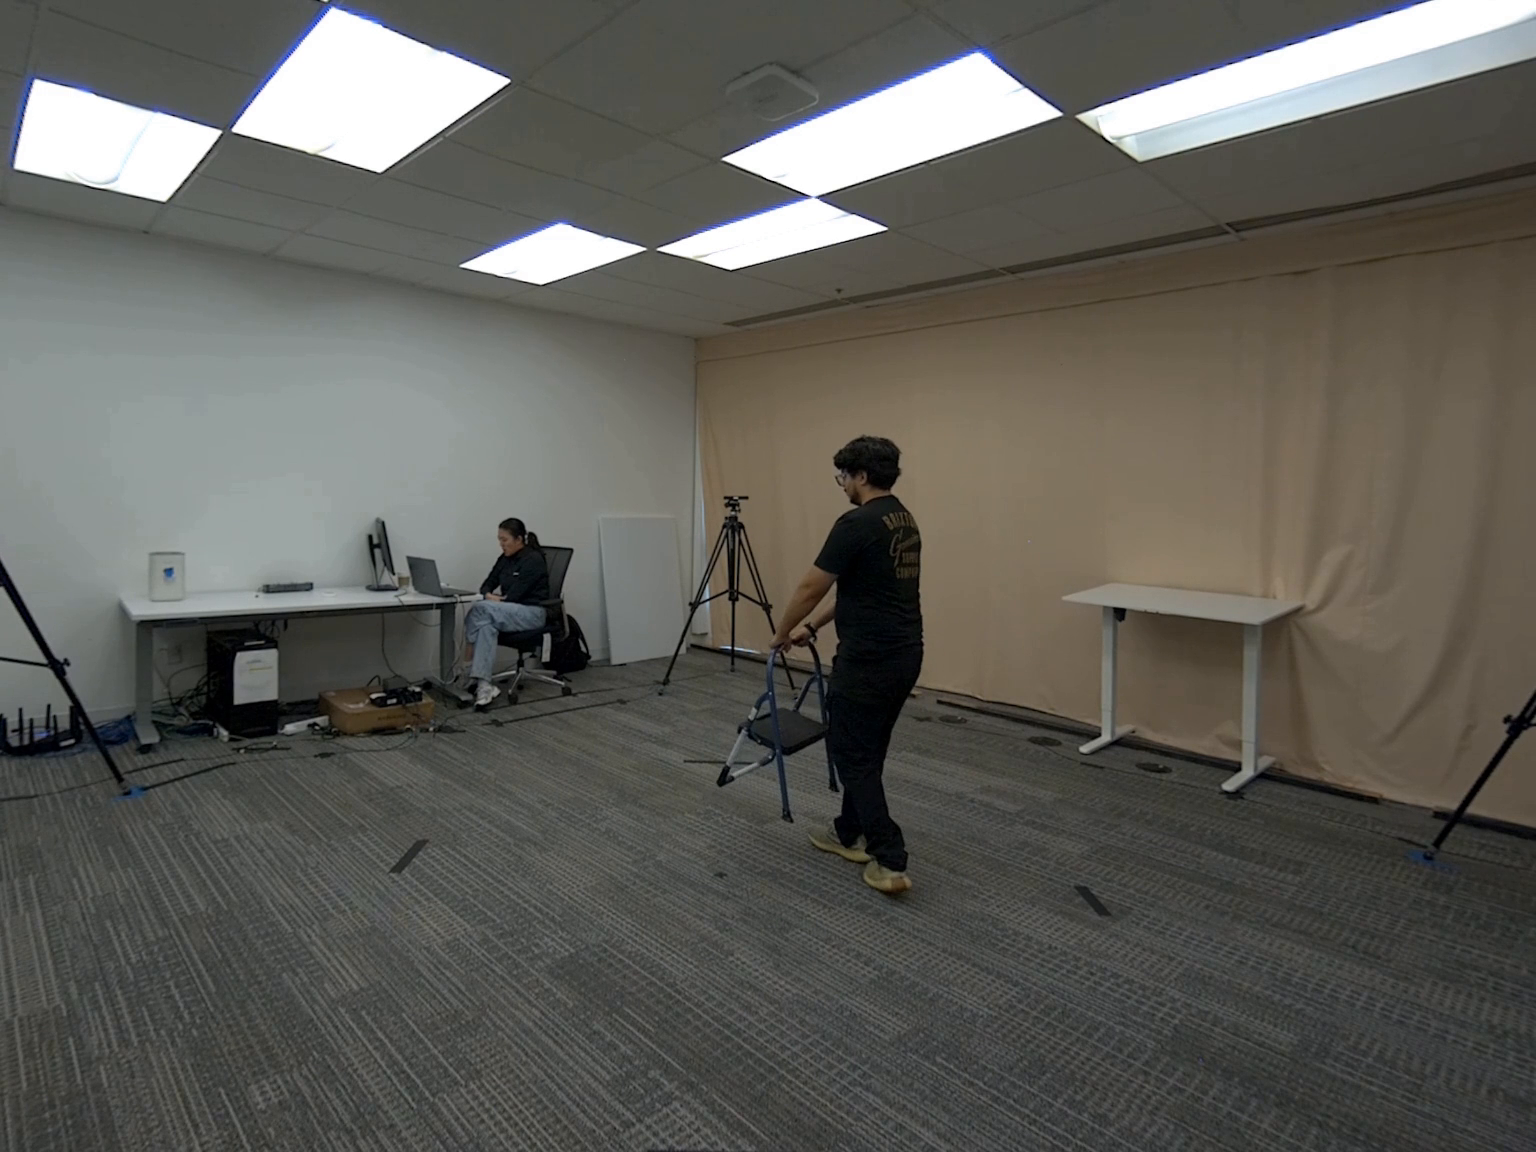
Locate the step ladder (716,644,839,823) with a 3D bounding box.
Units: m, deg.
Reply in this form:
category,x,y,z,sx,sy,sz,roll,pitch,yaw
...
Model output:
category,x,y,z,sx,sy,sz,roll,pitch,yaw
step ladder,0.095,0.564,3.343,0.358,0.602,0.422,17,11,30
